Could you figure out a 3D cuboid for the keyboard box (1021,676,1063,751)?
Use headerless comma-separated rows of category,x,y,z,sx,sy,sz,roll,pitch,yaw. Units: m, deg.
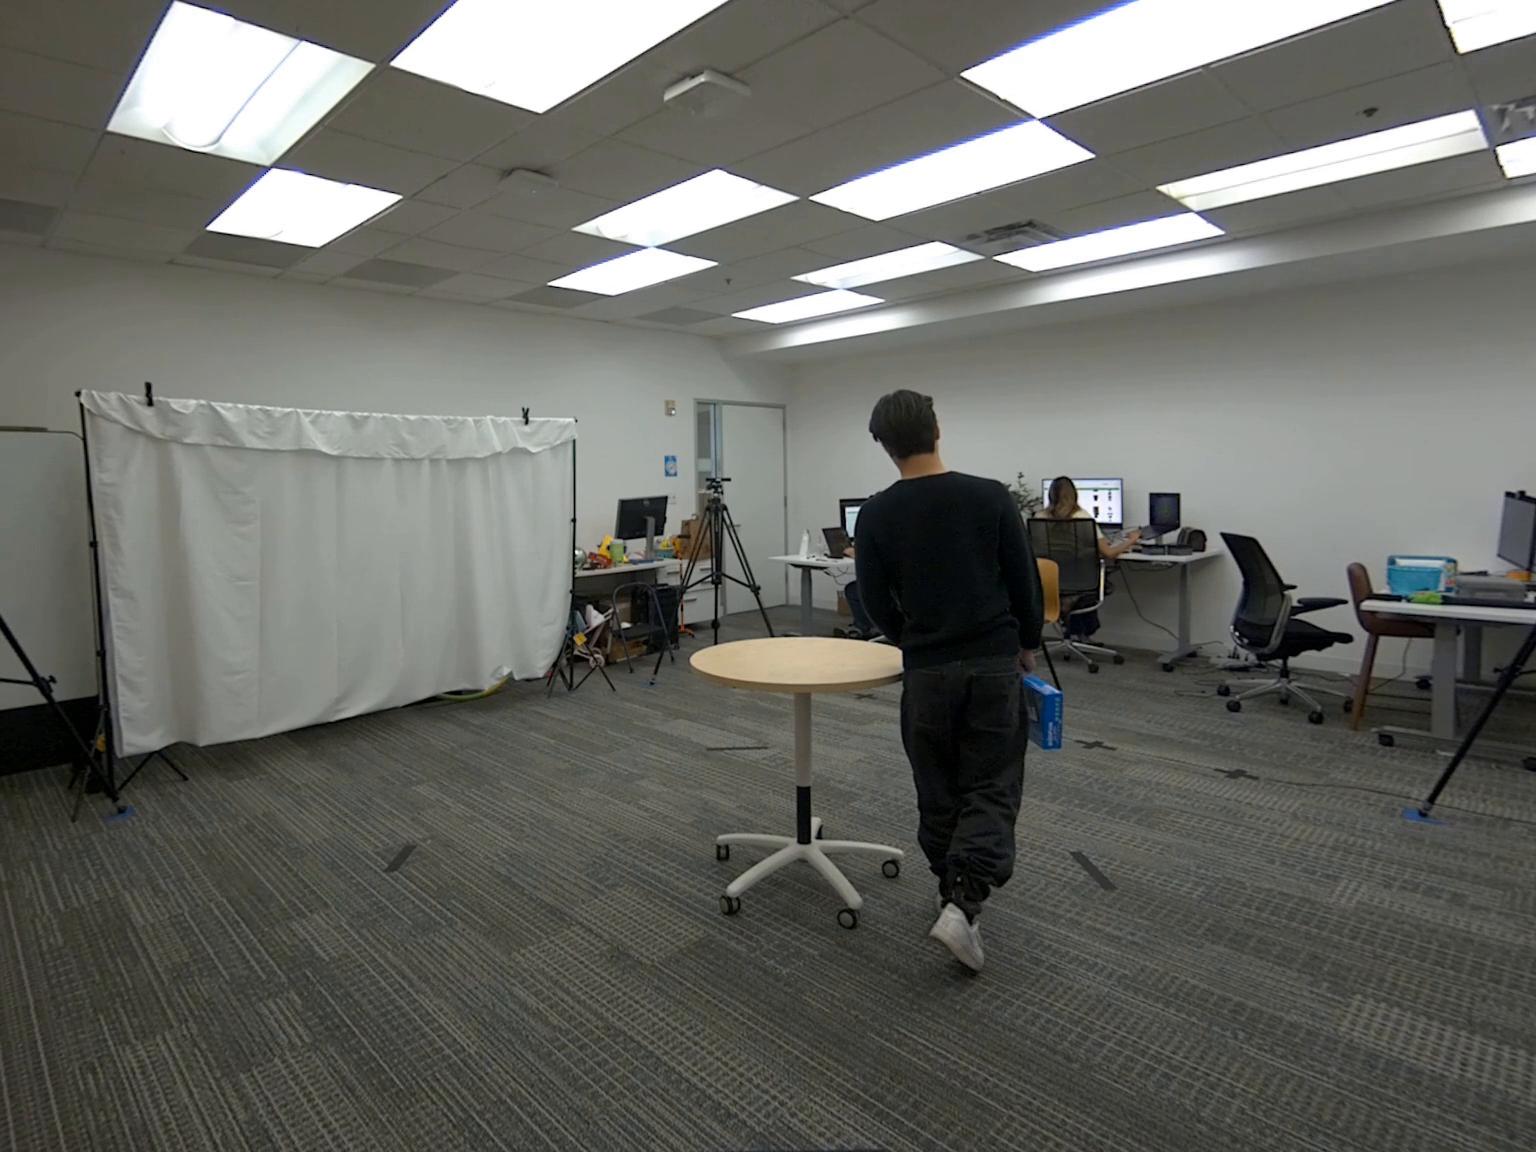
keyboard box,0.807,0.397,2.740,0.058,0.175,0.444,-2,9,-11
